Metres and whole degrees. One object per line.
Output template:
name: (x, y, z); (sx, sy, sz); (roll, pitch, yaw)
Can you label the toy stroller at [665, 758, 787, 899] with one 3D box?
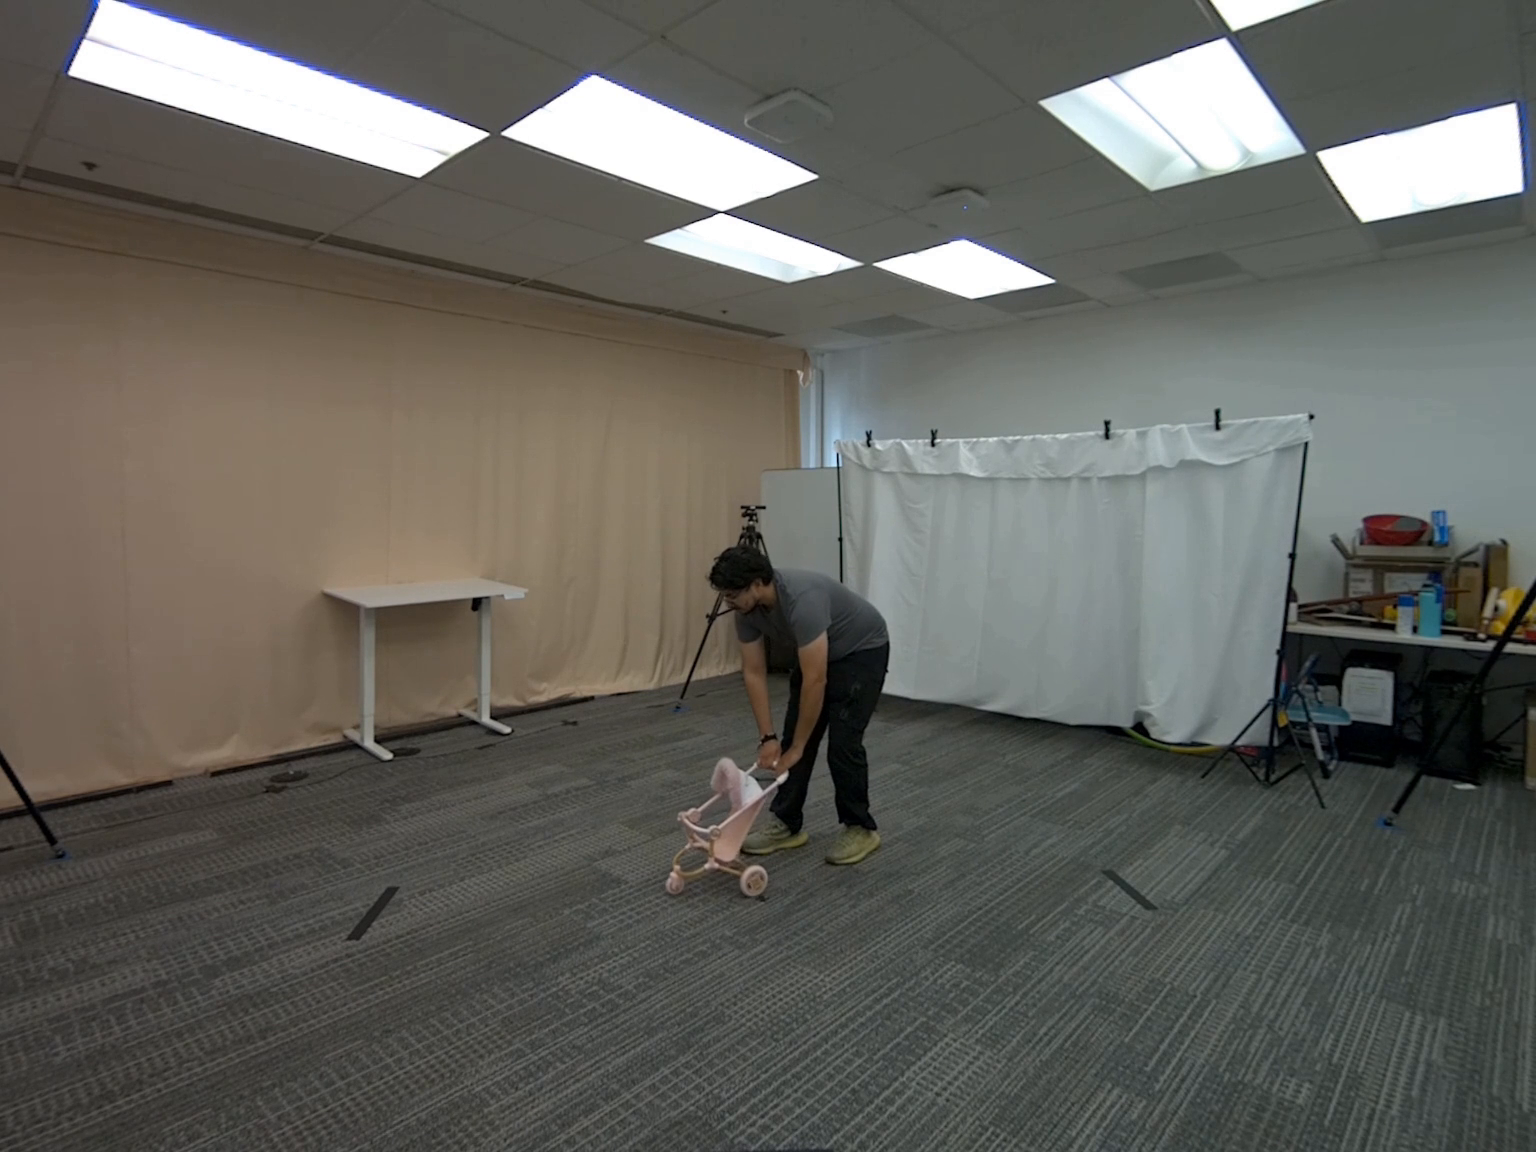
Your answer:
toy stroller: (-0.163, 0.911, 3.084); (0.333, 0.535, 0.288); (16, -3, -21)
